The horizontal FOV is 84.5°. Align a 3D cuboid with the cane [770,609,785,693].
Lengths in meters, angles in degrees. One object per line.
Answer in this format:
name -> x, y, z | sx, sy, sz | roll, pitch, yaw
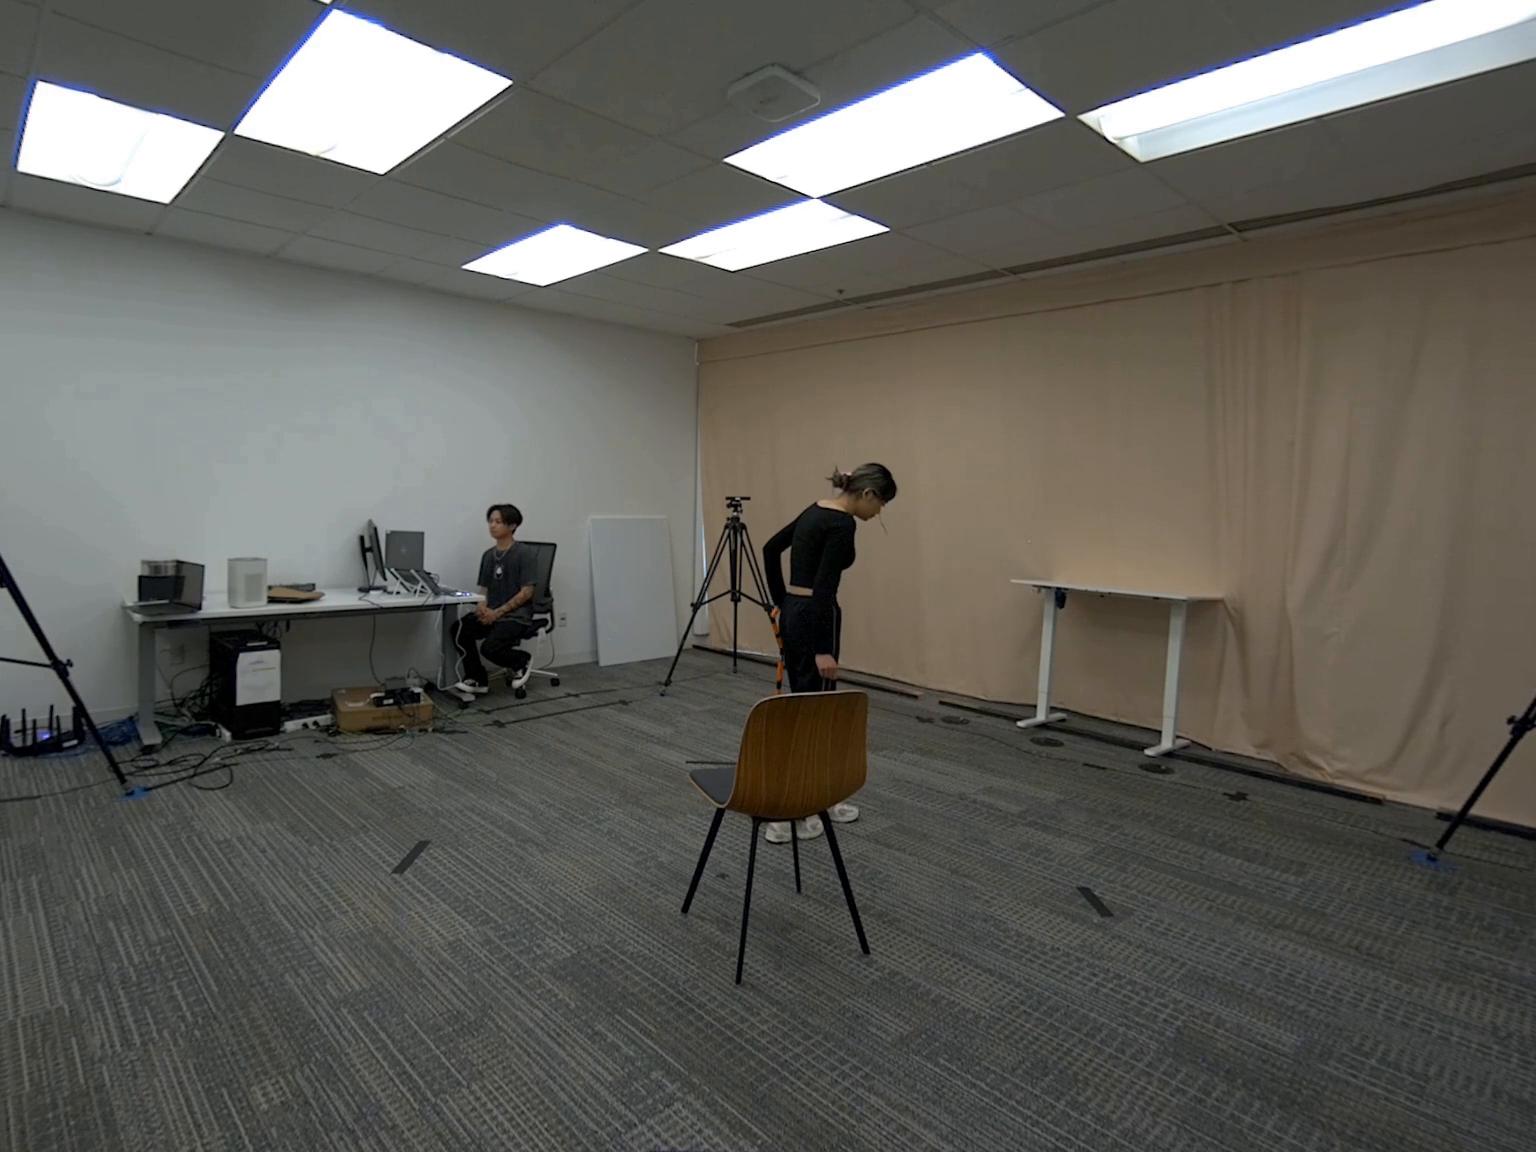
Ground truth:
cane -> 0.030, 0.583, 3.936 | 0.203, 0.907, 0.154 | 5, 1, -19
